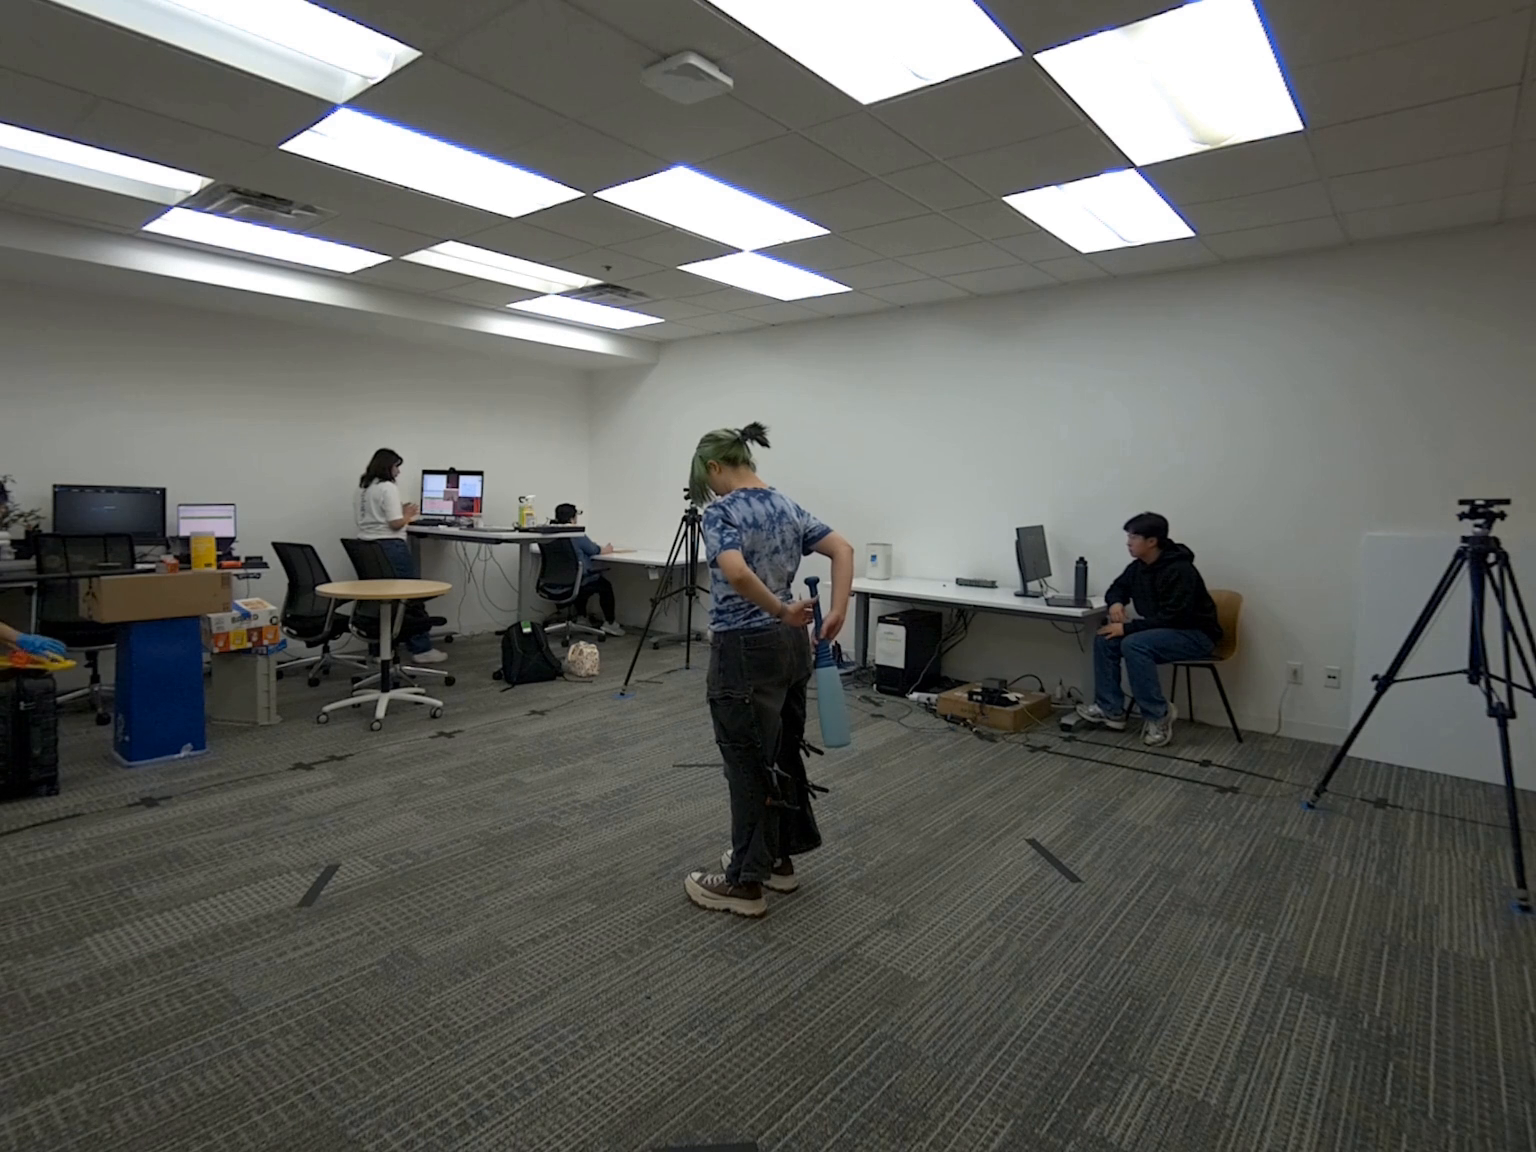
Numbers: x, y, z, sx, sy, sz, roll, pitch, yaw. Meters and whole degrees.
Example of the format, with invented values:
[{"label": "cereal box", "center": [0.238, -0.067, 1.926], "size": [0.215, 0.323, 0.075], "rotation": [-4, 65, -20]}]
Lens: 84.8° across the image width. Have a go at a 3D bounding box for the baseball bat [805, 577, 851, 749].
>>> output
[{"label": "baseball bat", "center": [0.171, 0.272, 2.722], "size": [0.089, 0.547, 0.088], "rotation": [-10, -7, -3]}]
